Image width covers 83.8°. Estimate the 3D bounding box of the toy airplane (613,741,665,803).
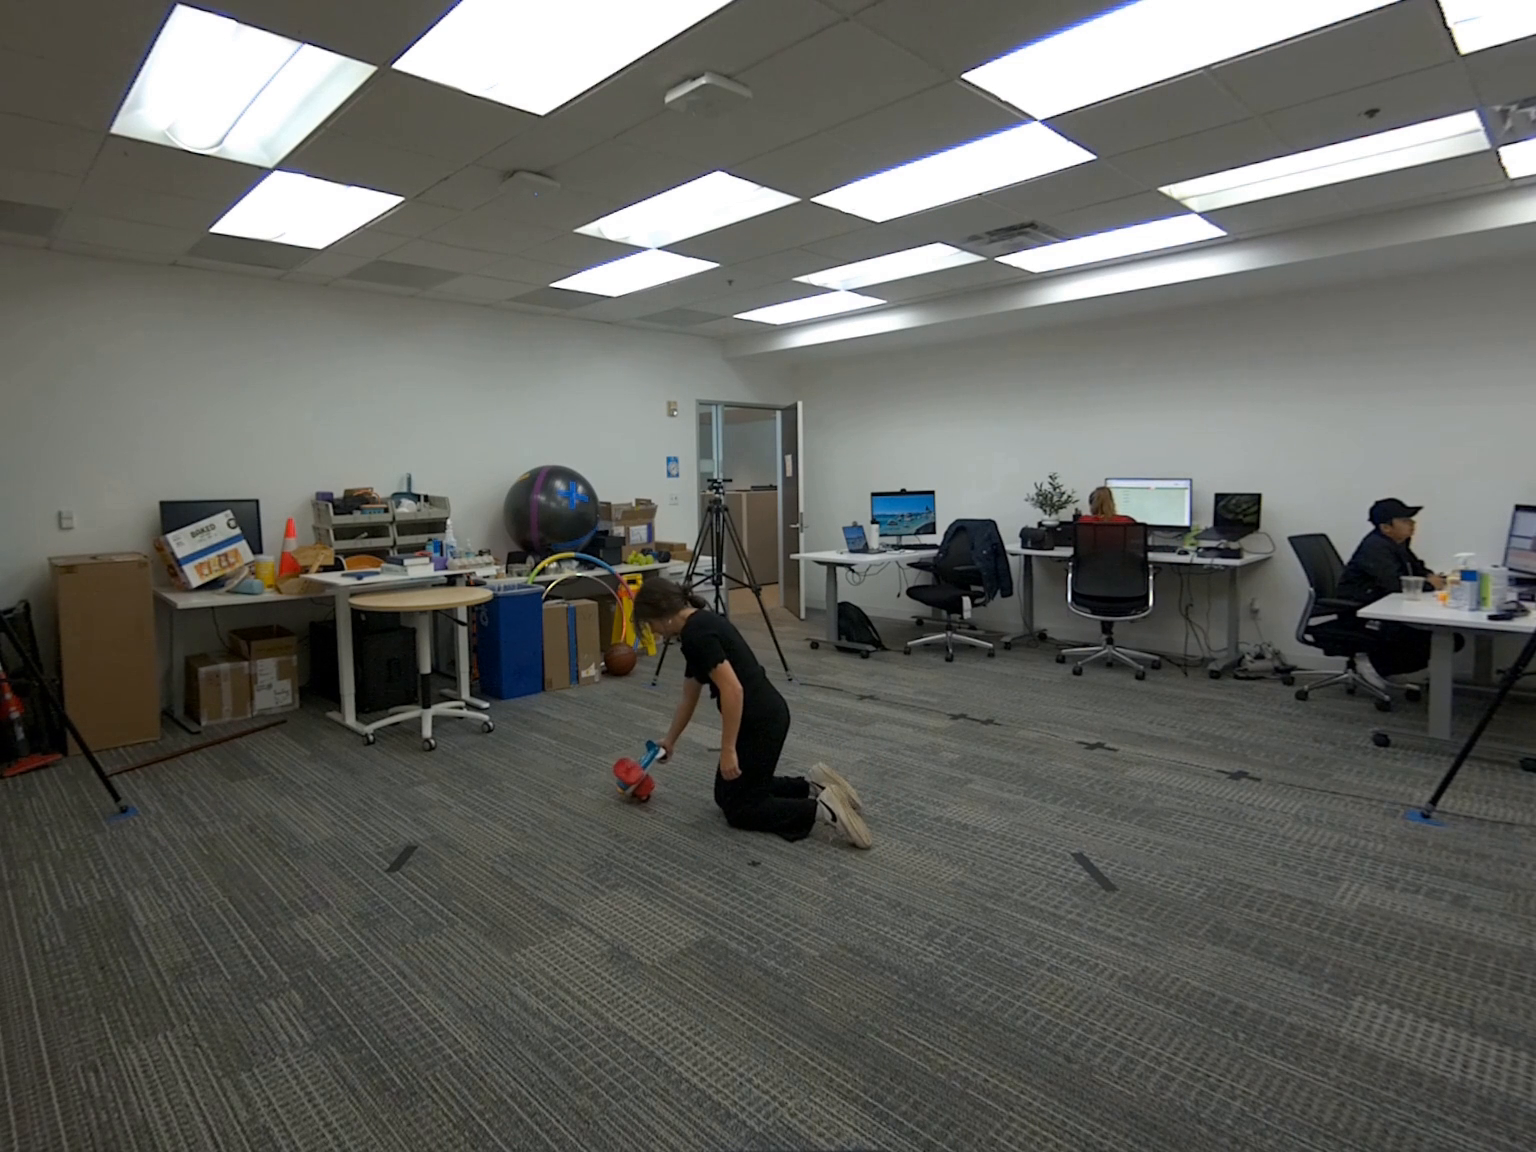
[{"bbox_3d":[-0.569,0.861,3.776,0.151,0.264,0.254,36,-42,-28],"label":"toy airplane"}]
